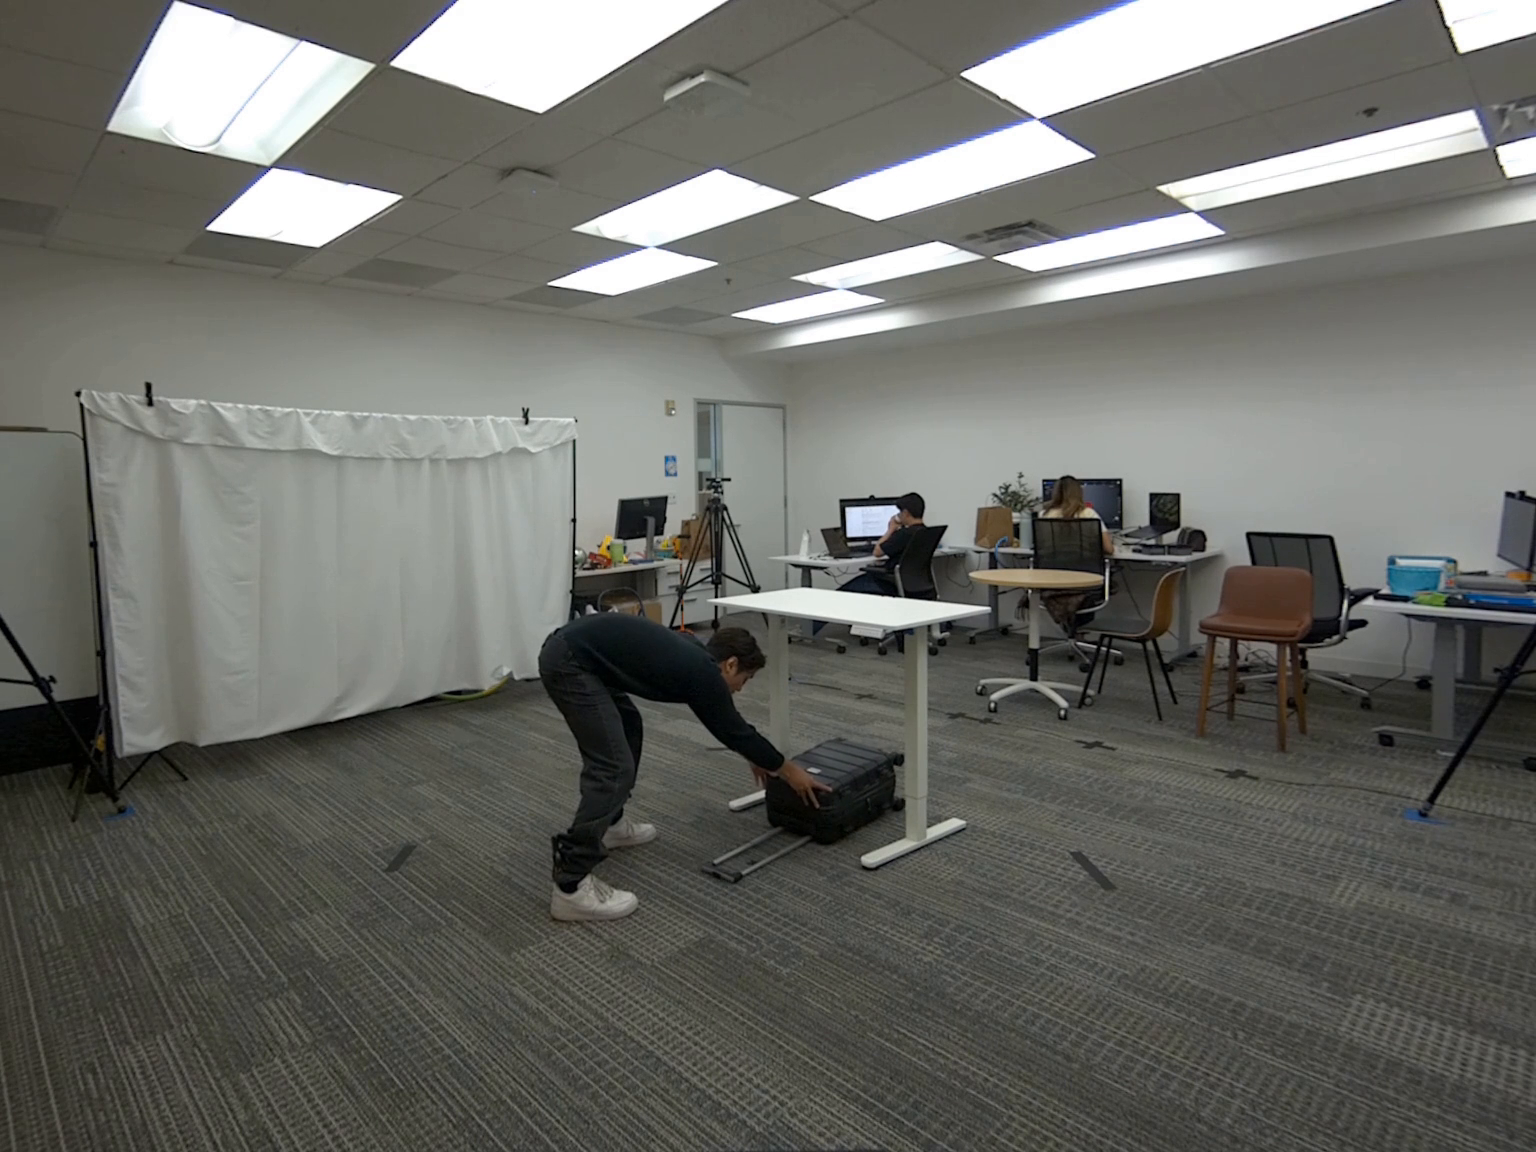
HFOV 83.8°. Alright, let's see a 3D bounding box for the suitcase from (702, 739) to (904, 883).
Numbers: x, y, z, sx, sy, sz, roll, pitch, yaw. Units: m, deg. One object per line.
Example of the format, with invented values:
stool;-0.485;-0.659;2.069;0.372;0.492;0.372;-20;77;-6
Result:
suitcase;0.130;0.886;3.337;0.396;0.256;0.954;5;9;42
